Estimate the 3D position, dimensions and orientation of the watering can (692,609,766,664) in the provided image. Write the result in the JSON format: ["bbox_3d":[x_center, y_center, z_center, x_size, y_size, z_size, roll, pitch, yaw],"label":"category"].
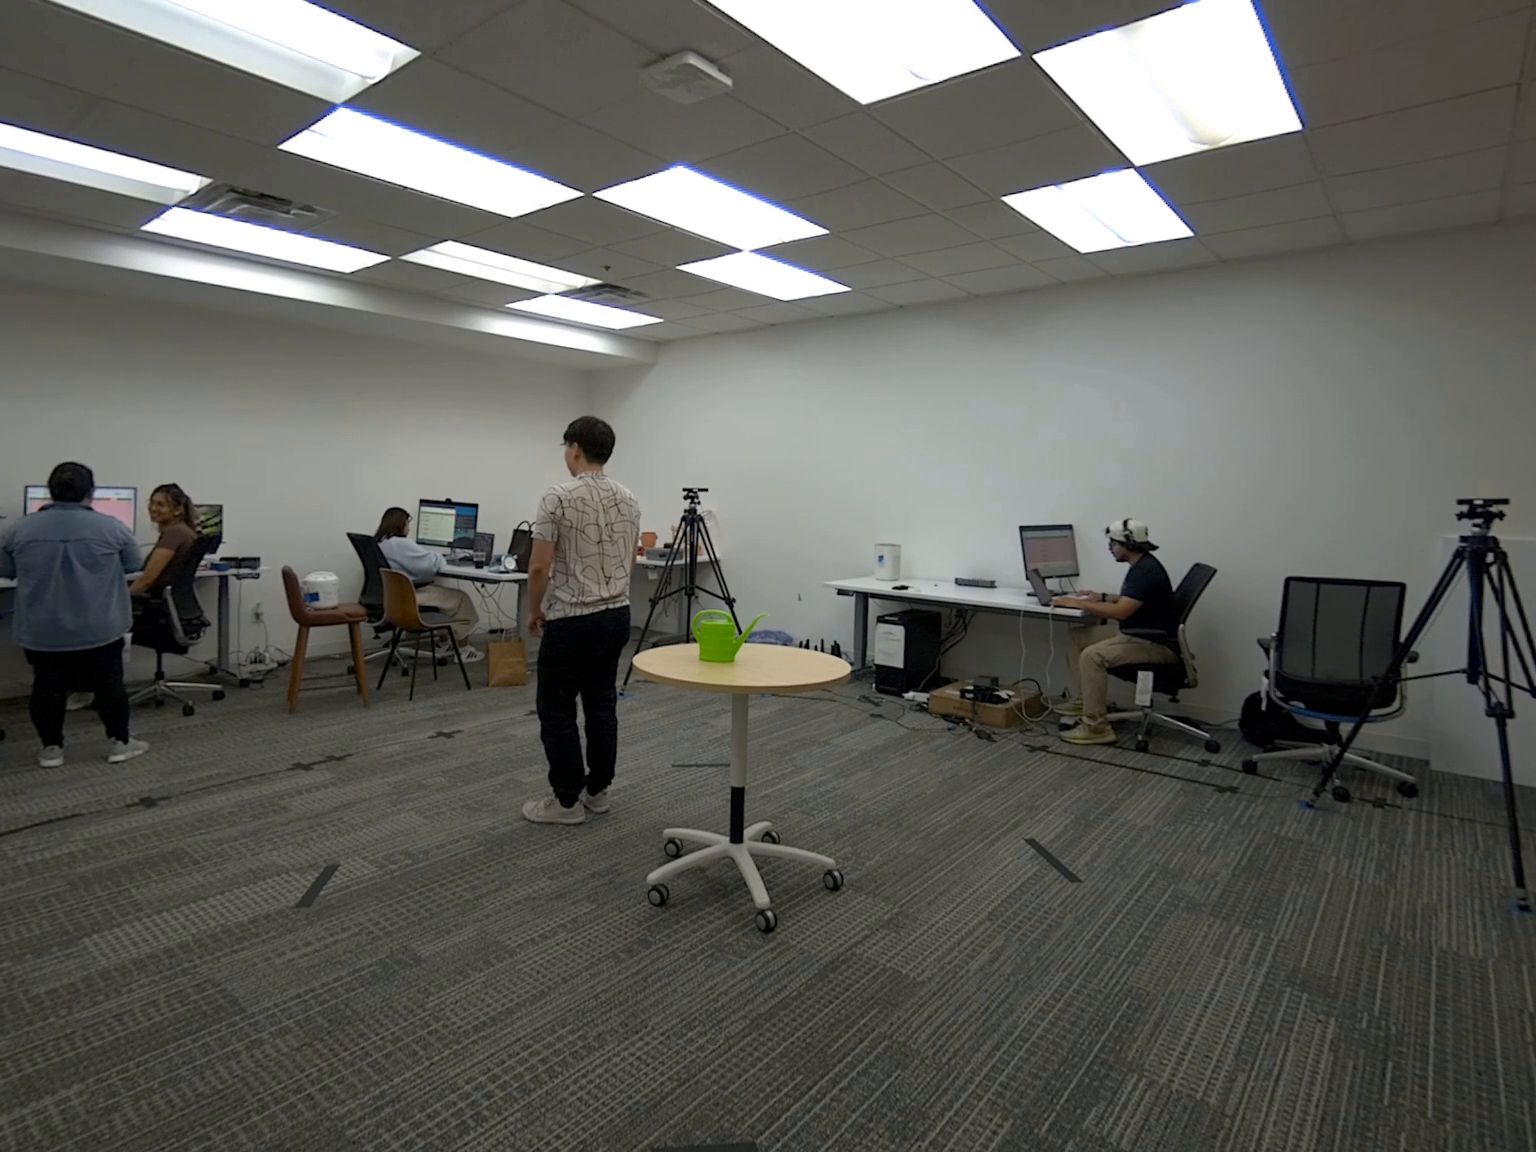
[{"bbox_3d":[-0.149,0.211,2.988,0.286,0.176,0.096,2,5,27],"label":"watering can"}]
